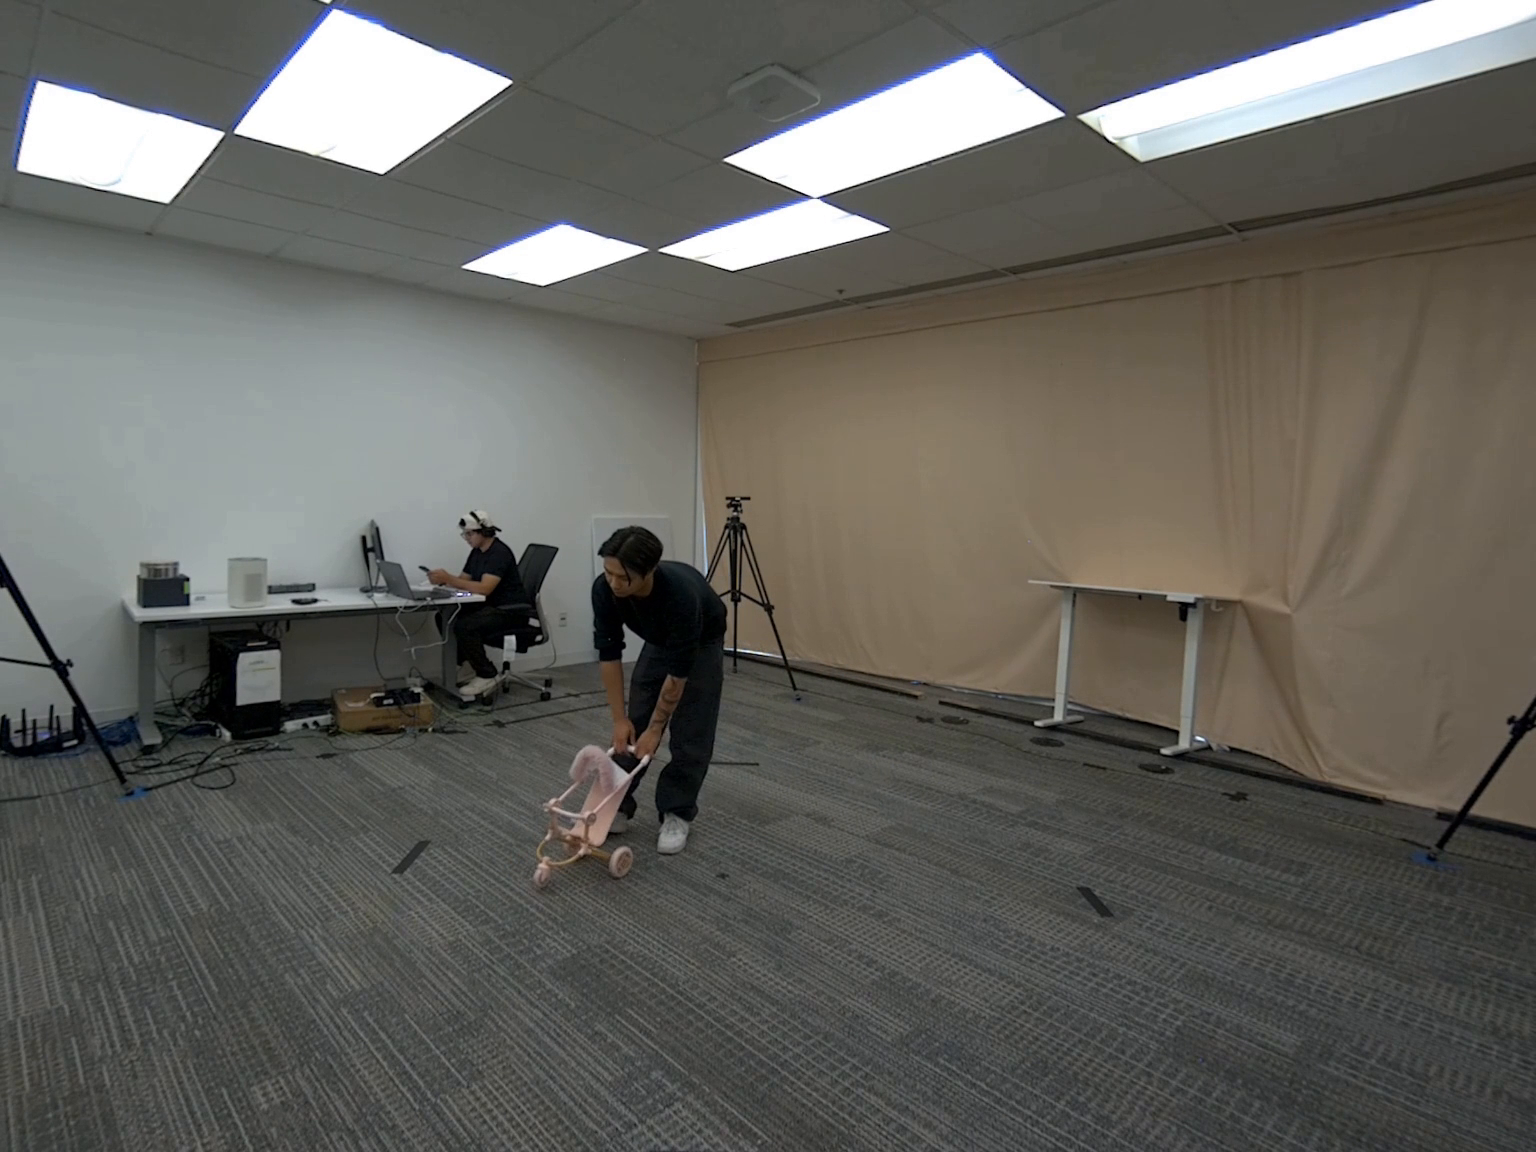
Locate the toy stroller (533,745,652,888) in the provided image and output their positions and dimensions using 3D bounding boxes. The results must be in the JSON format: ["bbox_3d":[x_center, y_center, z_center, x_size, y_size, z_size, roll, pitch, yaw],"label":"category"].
[{"bbox_3d":[-0.677,0.873,3.102,0.288,0.538,0.331,3,-15,42],"label":"toy stroller"}]
